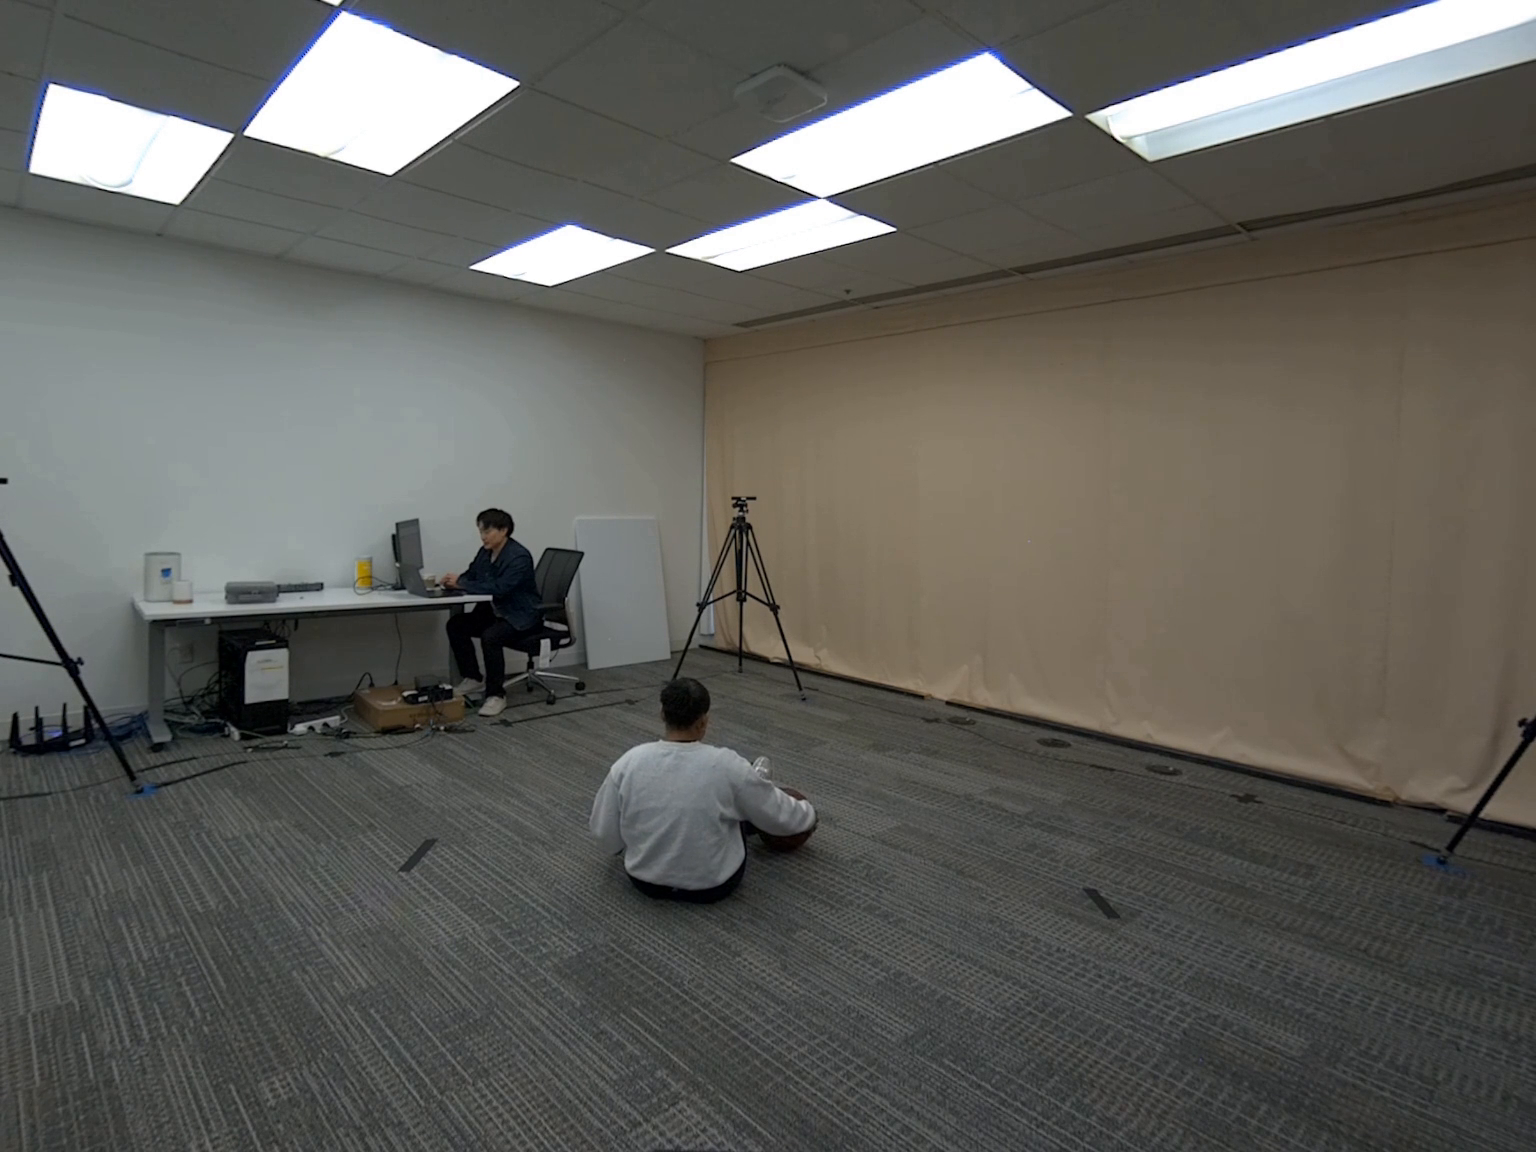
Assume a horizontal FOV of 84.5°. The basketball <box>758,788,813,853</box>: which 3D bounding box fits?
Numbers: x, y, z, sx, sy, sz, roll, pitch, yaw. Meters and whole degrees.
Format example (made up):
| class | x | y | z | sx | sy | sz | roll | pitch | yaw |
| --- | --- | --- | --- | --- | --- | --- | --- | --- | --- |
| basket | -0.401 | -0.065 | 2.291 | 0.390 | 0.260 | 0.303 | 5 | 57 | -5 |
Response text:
| class | x | y | z | sx | sy | sz | roll | pitch | yaw |
| --- | --- | --- | --- | --- | --- | --- | --- | --- | --- |
| basketball | 0.058 | 0.970 | 3.360 | 0.236 | 0.235 | 0.237 | 1 | 4 | -1 |
